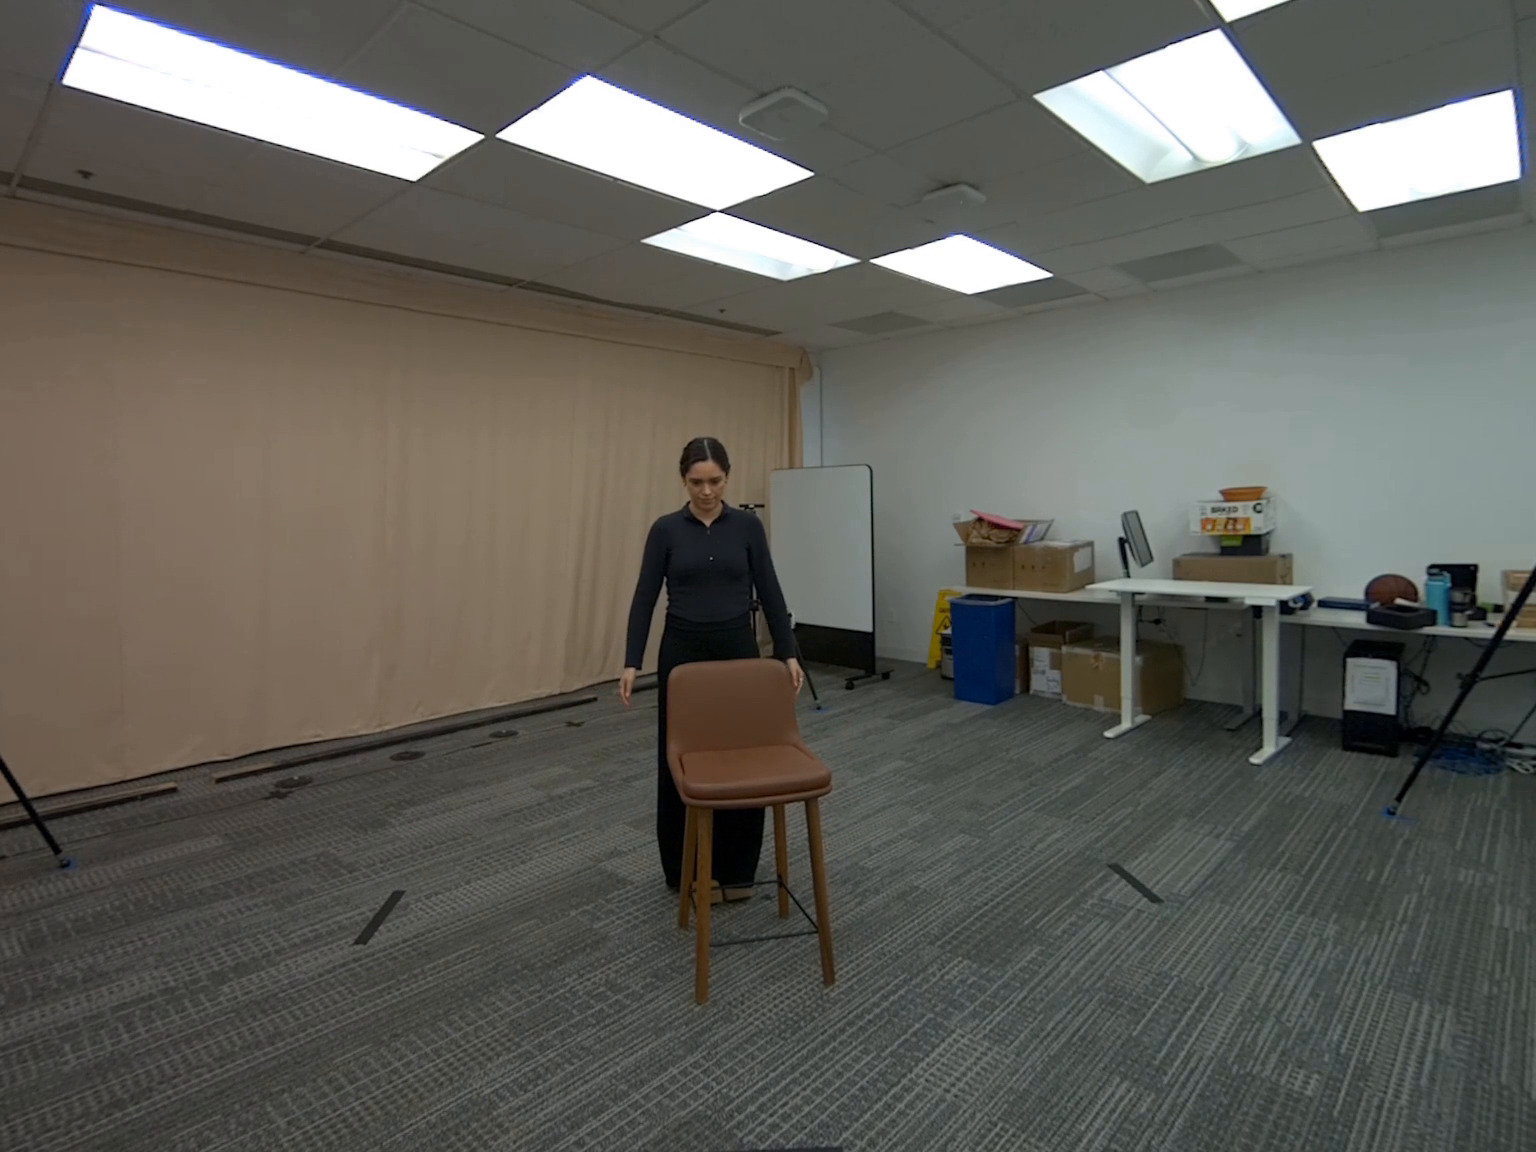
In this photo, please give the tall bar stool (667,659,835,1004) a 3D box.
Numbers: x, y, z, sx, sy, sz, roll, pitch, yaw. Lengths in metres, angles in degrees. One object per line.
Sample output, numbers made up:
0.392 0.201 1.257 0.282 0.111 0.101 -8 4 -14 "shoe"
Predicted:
-0.063 0.736 2.597 0.450 0.889 0.474 -2 1 -14 "tall bar stool"
